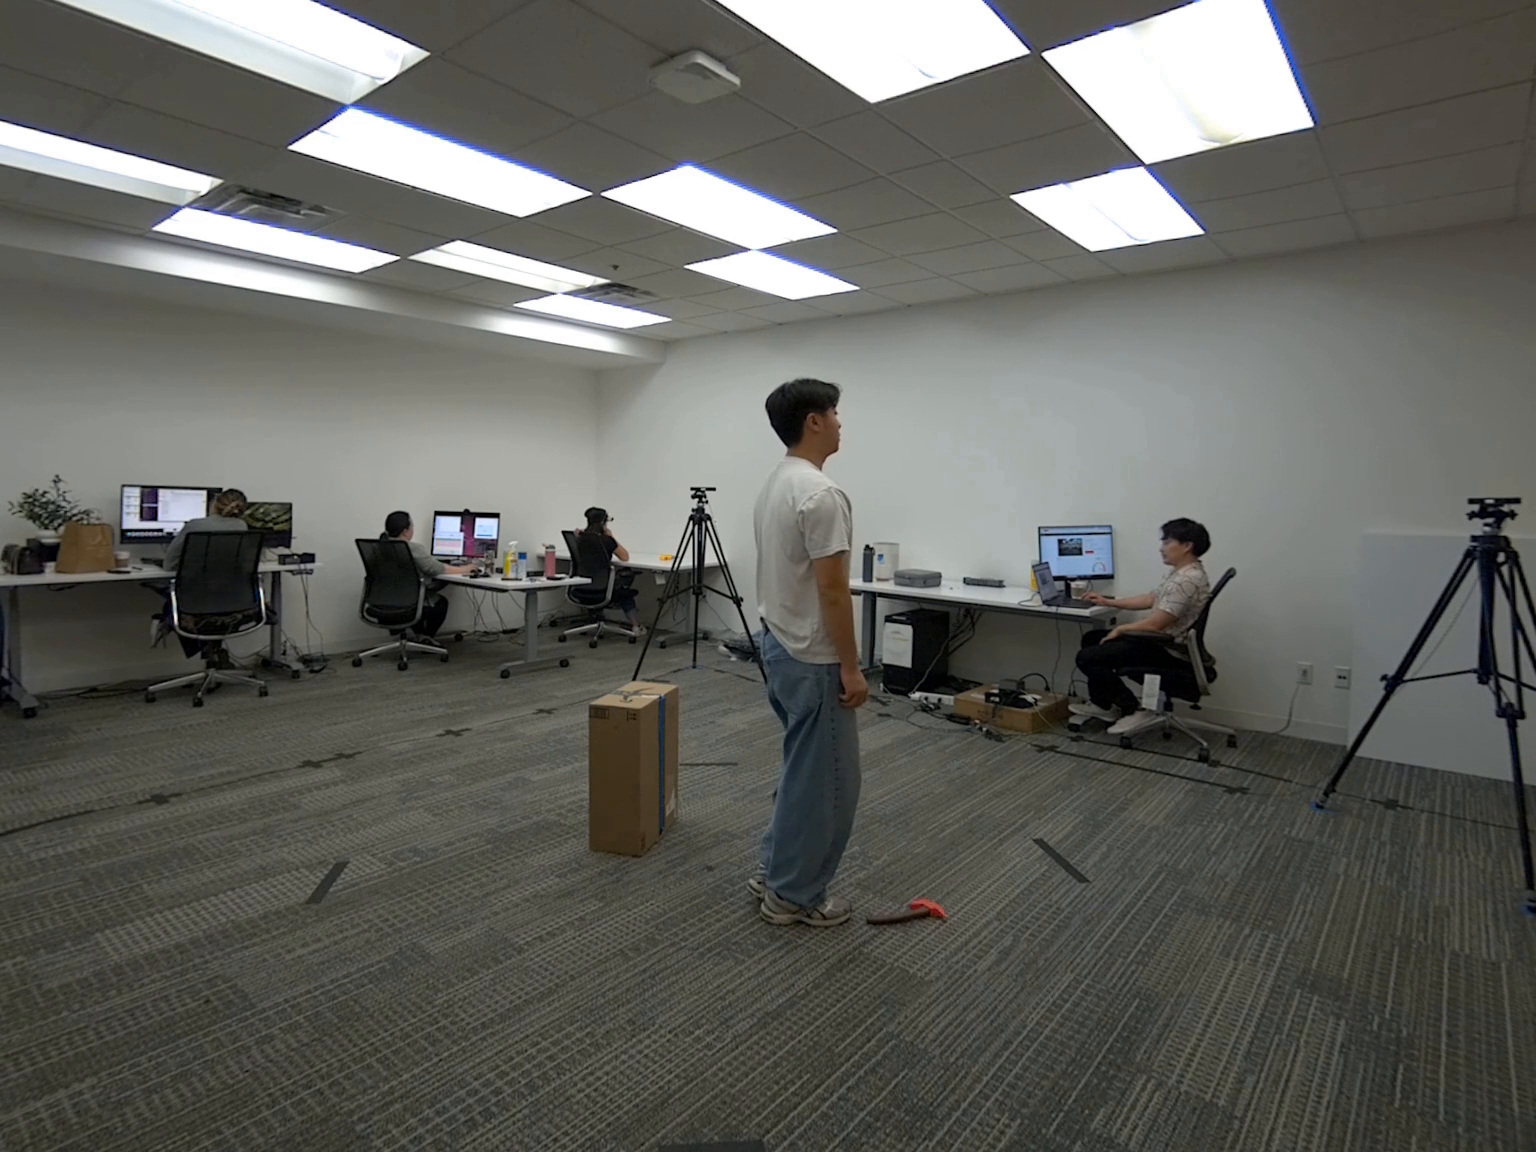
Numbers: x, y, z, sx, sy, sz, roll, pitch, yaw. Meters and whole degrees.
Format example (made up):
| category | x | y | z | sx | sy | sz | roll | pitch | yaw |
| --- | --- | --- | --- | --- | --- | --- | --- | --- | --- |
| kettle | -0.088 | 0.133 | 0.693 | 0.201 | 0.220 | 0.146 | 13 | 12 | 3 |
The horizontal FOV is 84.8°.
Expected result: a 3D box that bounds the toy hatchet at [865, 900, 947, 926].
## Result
| category | x | y | z | sx | sy | sz | roll | pitch | yaw |
| --- | --- | --- | --- | --- | --- | --- | --- | --- | --- |
| toy hatchet | 0.435 | 1.104 | 2.803 | 0.268 | 0.029 | 0.133 | -1 | 6 | -8 |
